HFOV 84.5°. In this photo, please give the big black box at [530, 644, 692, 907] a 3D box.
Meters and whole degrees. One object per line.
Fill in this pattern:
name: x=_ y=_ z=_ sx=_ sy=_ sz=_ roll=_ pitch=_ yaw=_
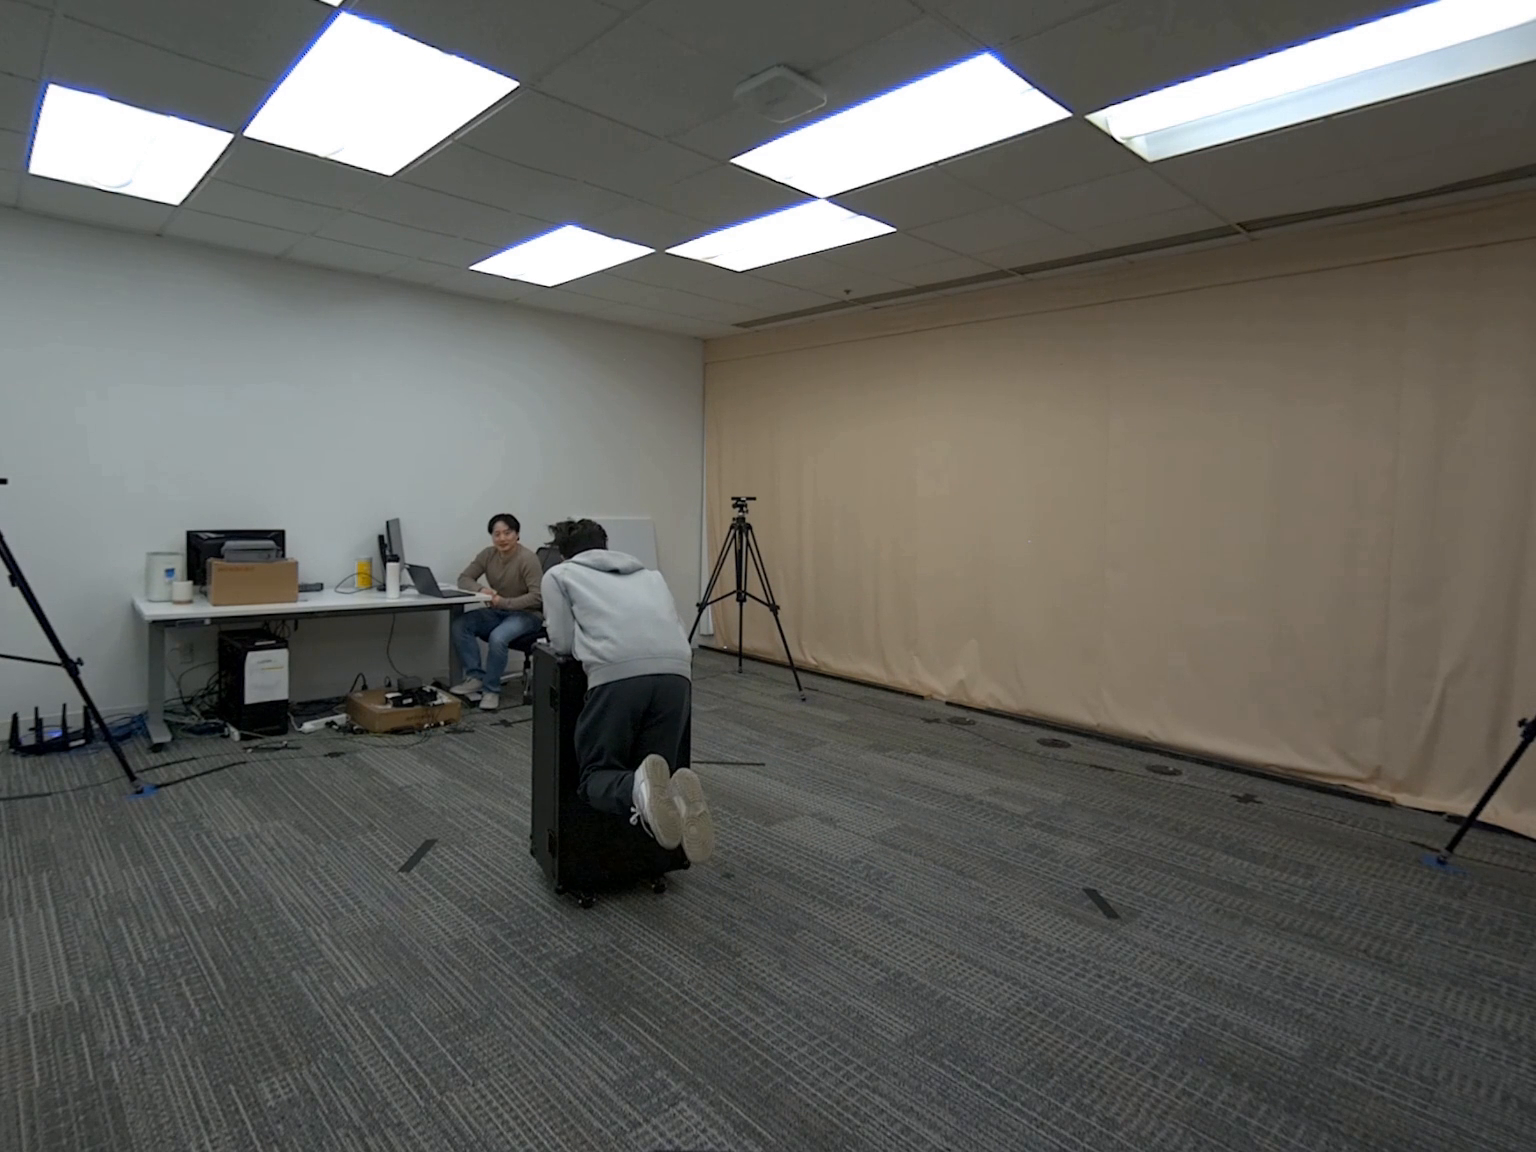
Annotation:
big black box: x=-0.585 y=0.684 z=3.031 sx=0.511 sy=0.860 sz=0.404 roll=-1 pitch=2 yaw=-28
